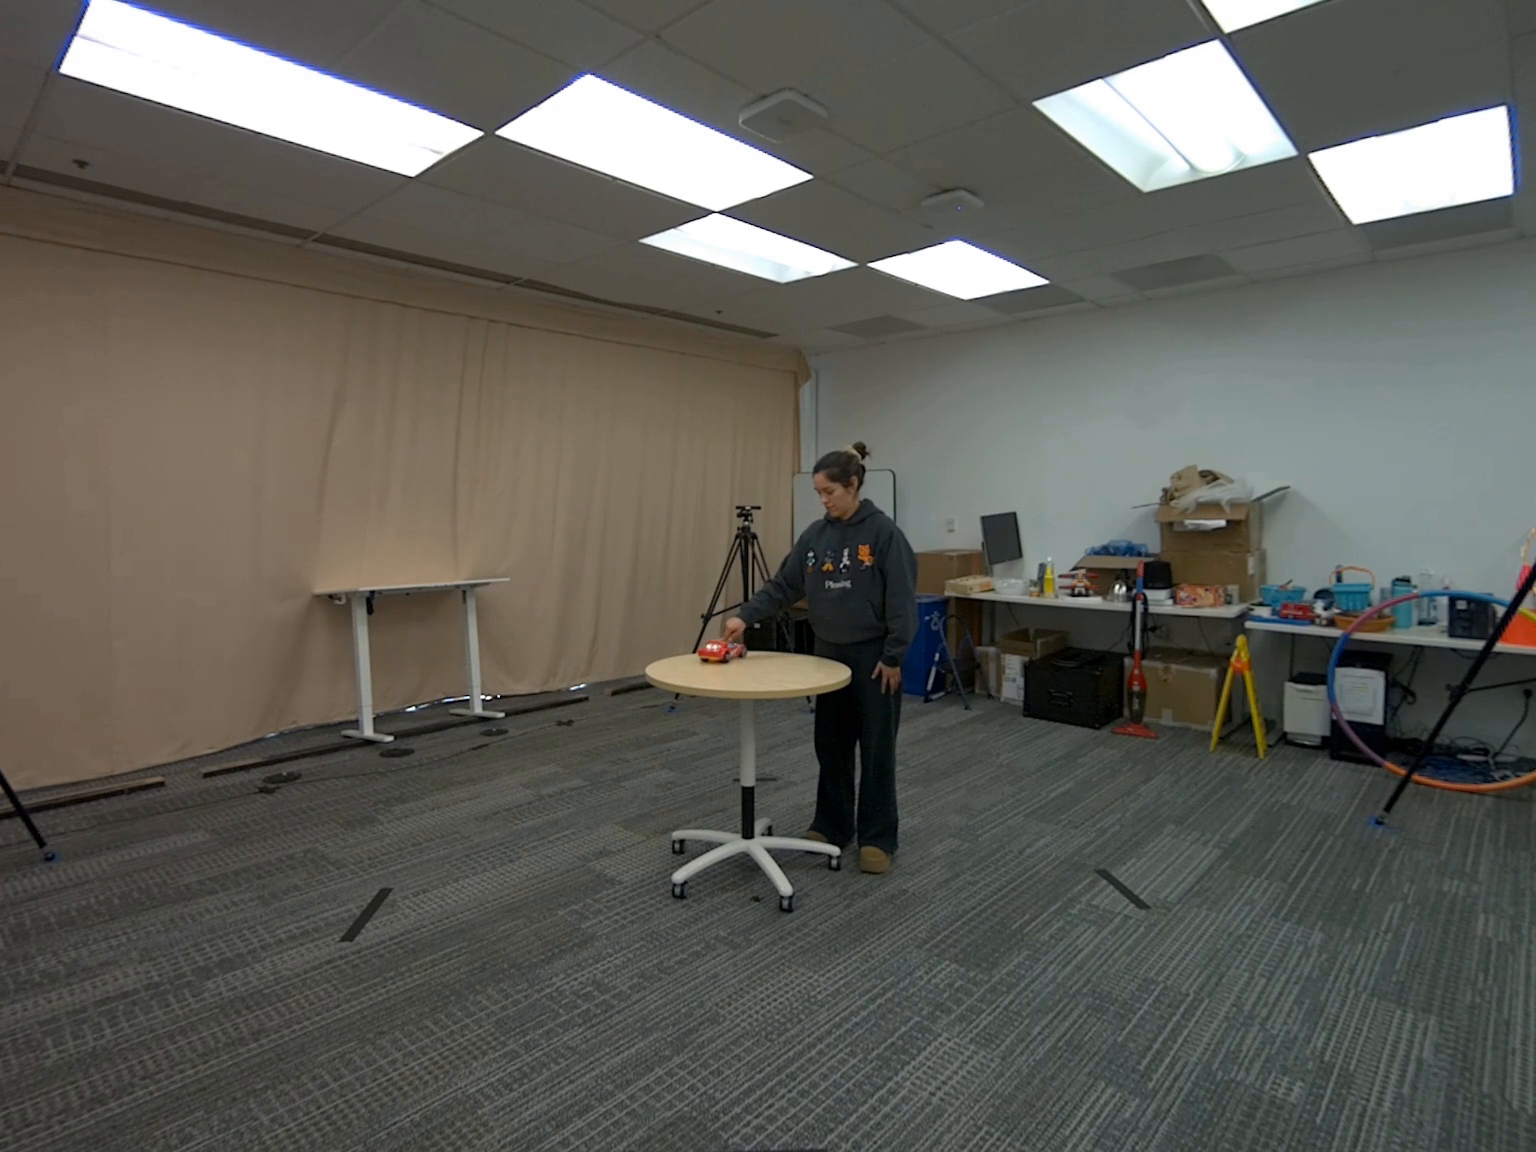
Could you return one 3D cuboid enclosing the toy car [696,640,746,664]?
[{"bbox_3d":[-0.169,0.303,3.332,0.134,0.083,0.247,2,-6,27],"label":"toy car"}]
